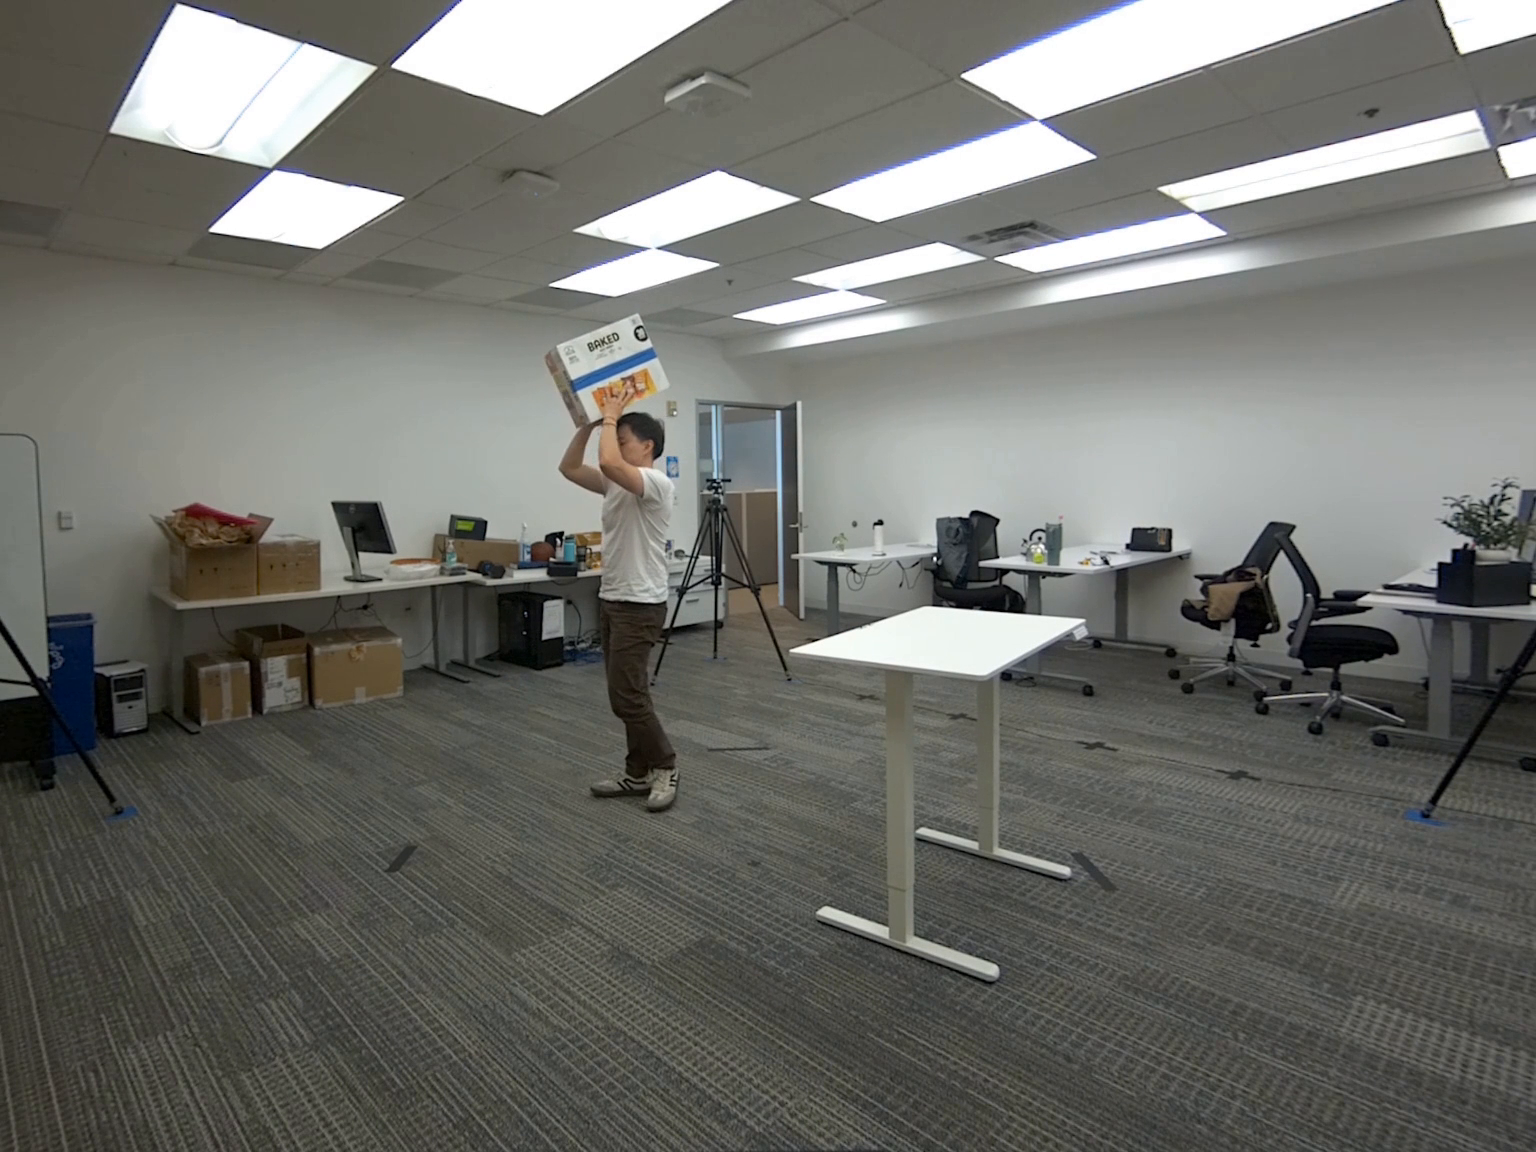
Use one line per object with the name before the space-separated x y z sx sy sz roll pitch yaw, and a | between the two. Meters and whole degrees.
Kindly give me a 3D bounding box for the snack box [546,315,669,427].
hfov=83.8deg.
snack box | -0.692 -0.881 3.681 0.401 0.335 0.210 -30 14 -24
